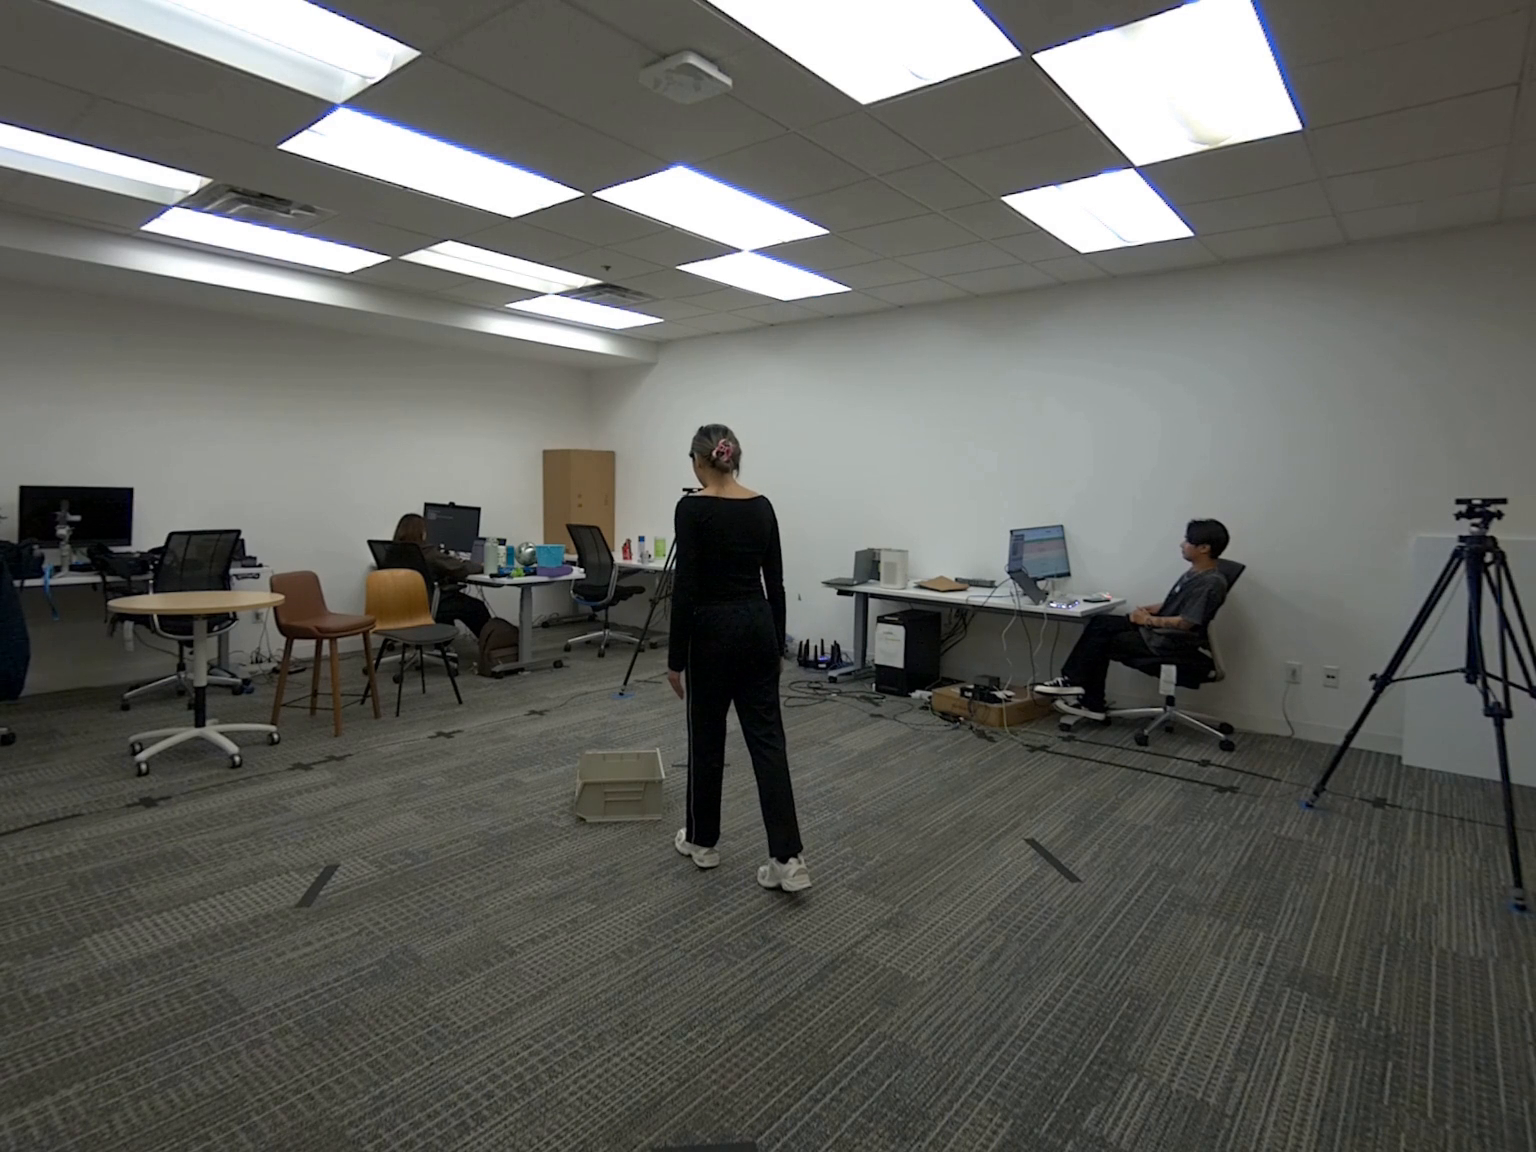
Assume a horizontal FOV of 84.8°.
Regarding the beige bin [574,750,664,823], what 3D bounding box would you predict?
[{"bbox_3d":[-0.670,0.913,3.748,0.373,0.188,0.428,0,4,-10],"label":"beige bin"}]
